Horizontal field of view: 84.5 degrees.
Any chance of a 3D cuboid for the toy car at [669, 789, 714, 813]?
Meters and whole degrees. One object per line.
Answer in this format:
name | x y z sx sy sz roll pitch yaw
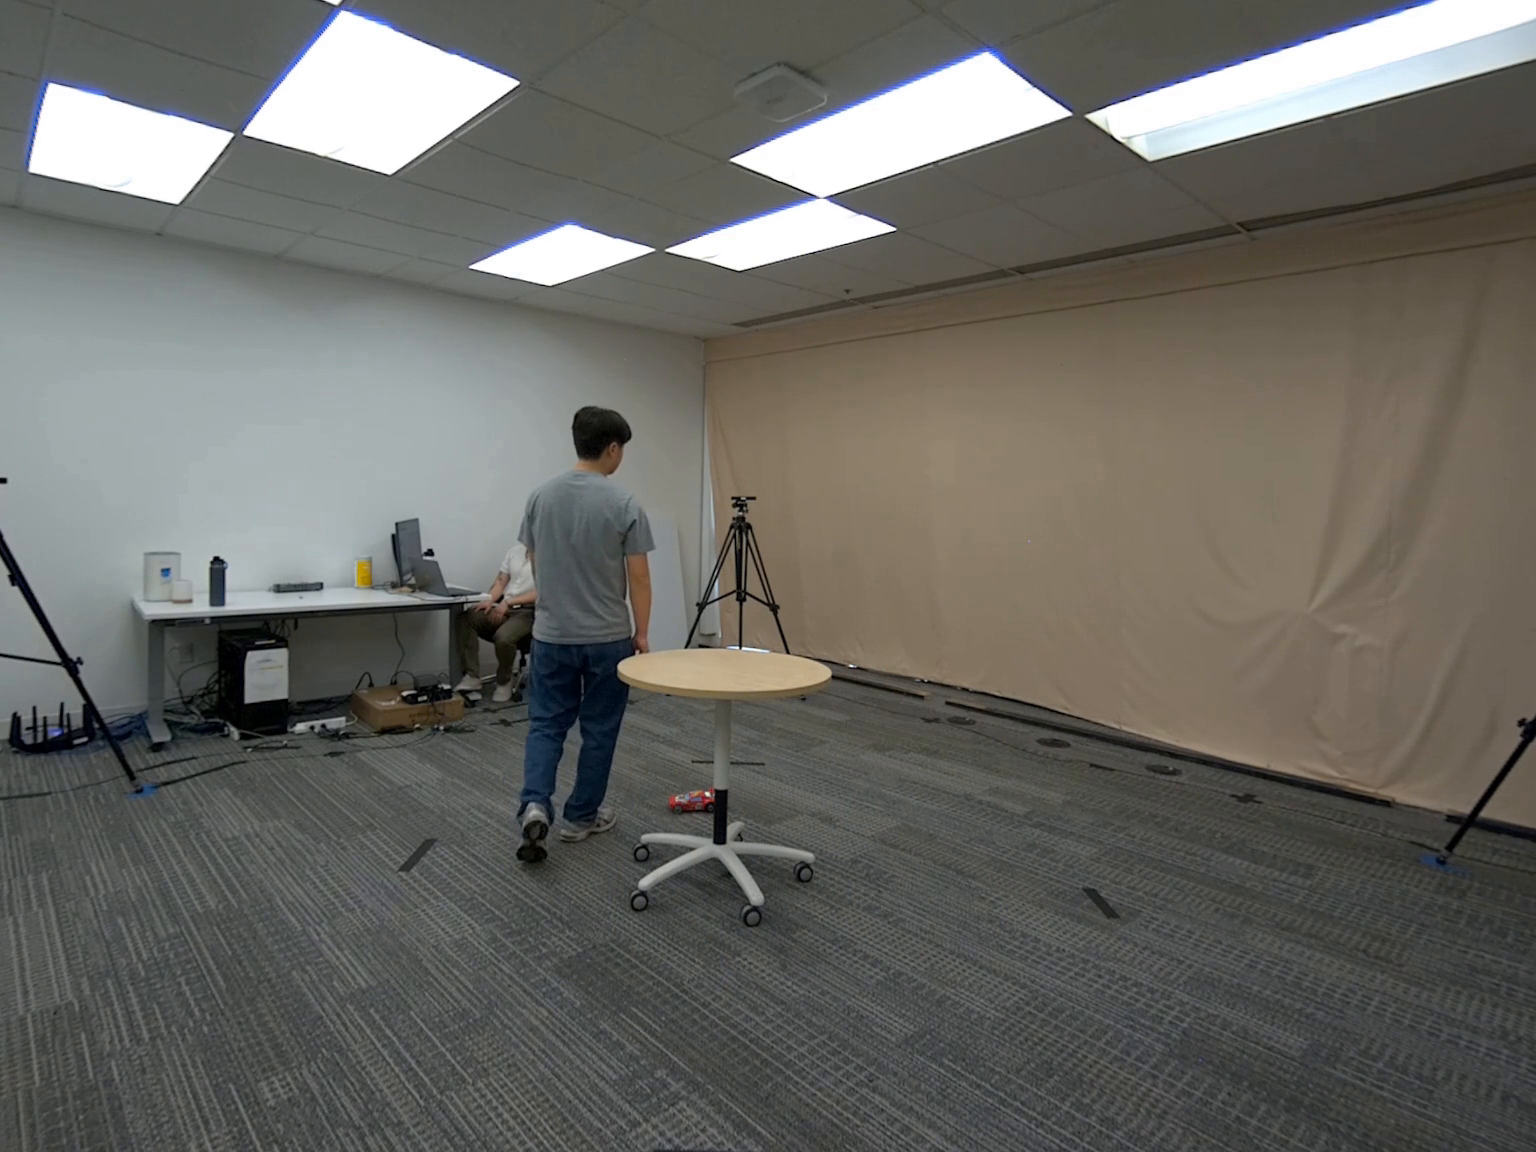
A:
toy car | -0.324 1.013 3.772 0.253 0.083 0.132 -11 7 -9
